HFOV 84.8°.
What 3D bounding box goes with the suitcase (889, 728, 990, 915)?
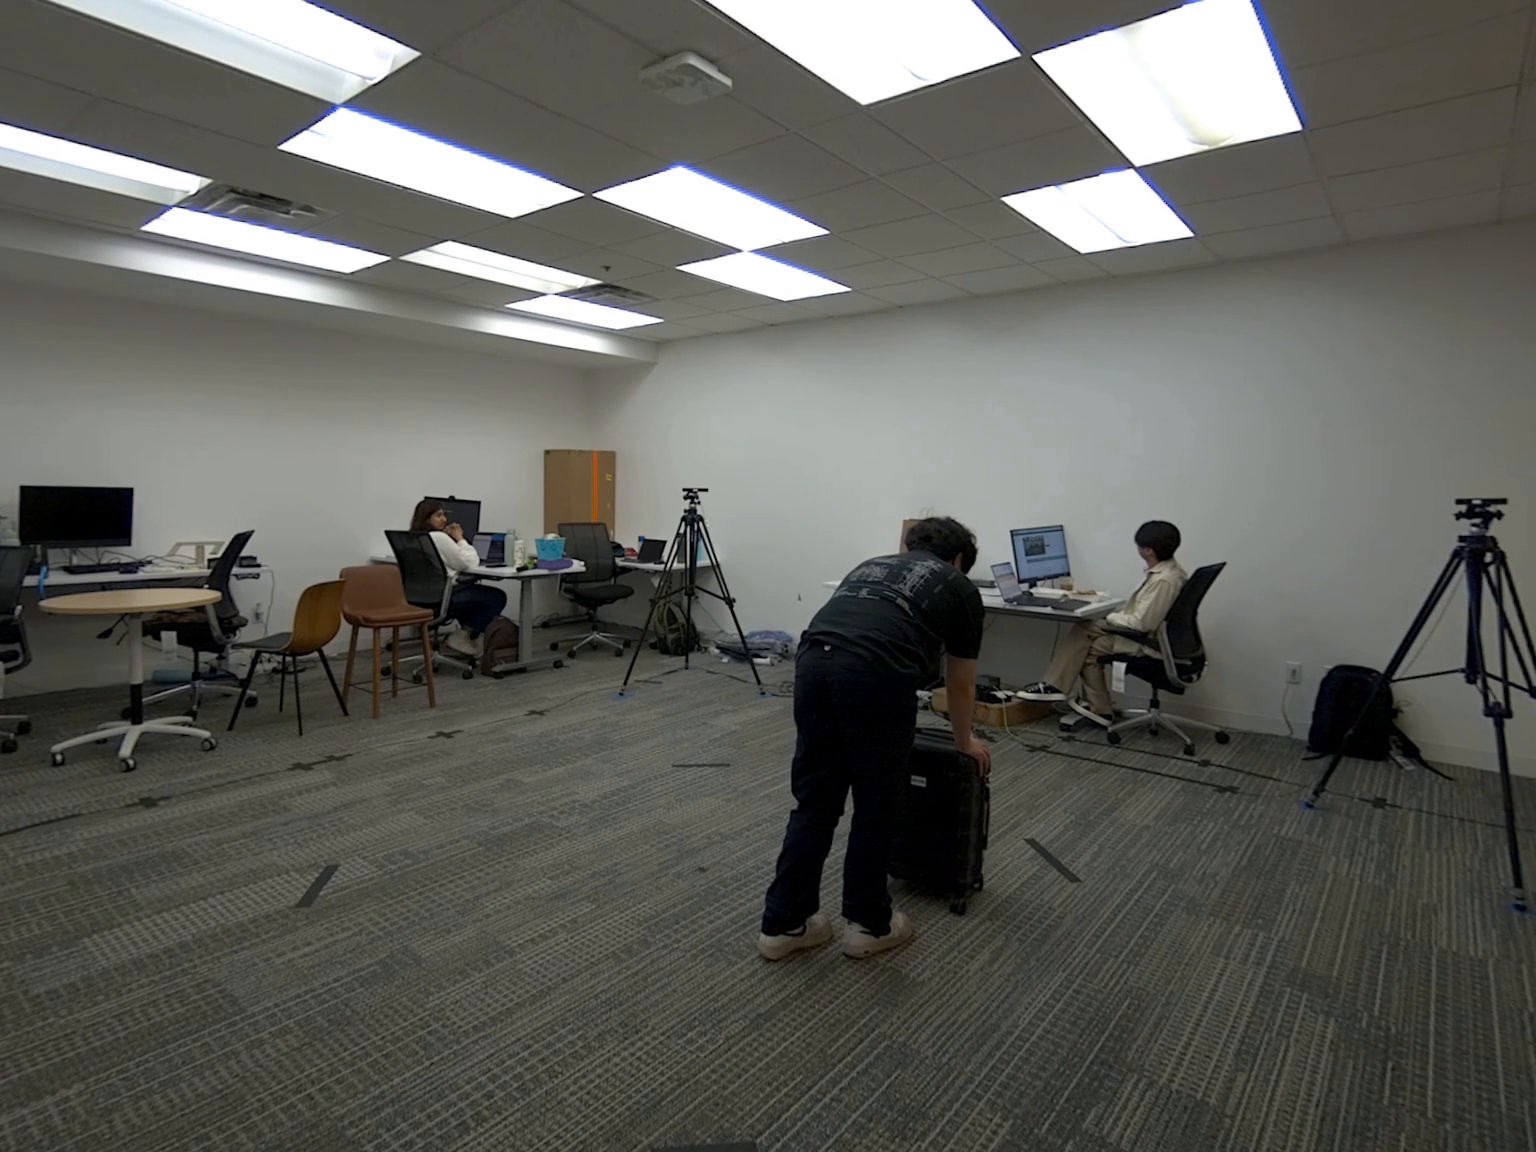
[{"bbox_3d":[0.575,0.822,3.007,0.386,0.549,0.241,3,1,30],"label":"suitcase"}]
